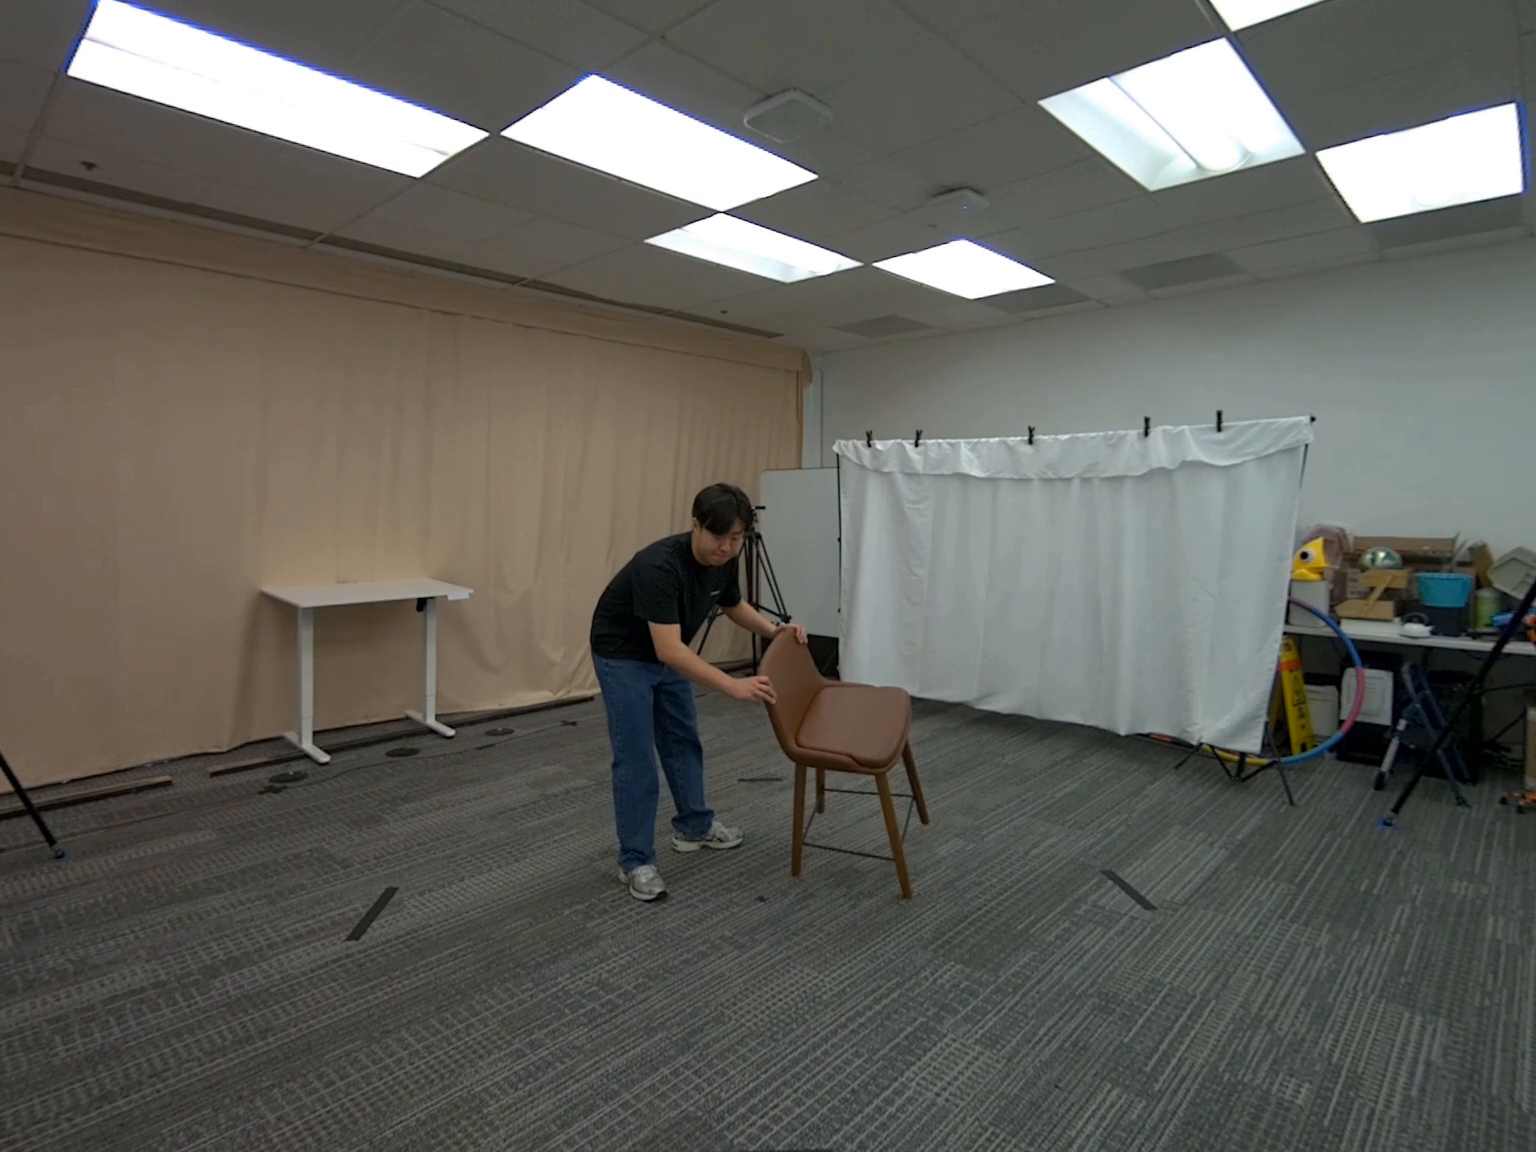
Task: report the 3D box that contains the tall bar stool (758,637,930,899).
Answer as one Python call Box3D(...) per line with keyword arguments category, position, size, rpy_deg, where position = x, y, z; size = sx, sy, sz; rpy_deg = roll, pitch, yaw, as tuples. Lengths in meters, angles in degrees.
Box3D(category="tall bar stool", position=(0.291, 0.662, 3.069), size=(0.479, 0.875, 0.453), rpy_deg=(-1, 24, 24))
